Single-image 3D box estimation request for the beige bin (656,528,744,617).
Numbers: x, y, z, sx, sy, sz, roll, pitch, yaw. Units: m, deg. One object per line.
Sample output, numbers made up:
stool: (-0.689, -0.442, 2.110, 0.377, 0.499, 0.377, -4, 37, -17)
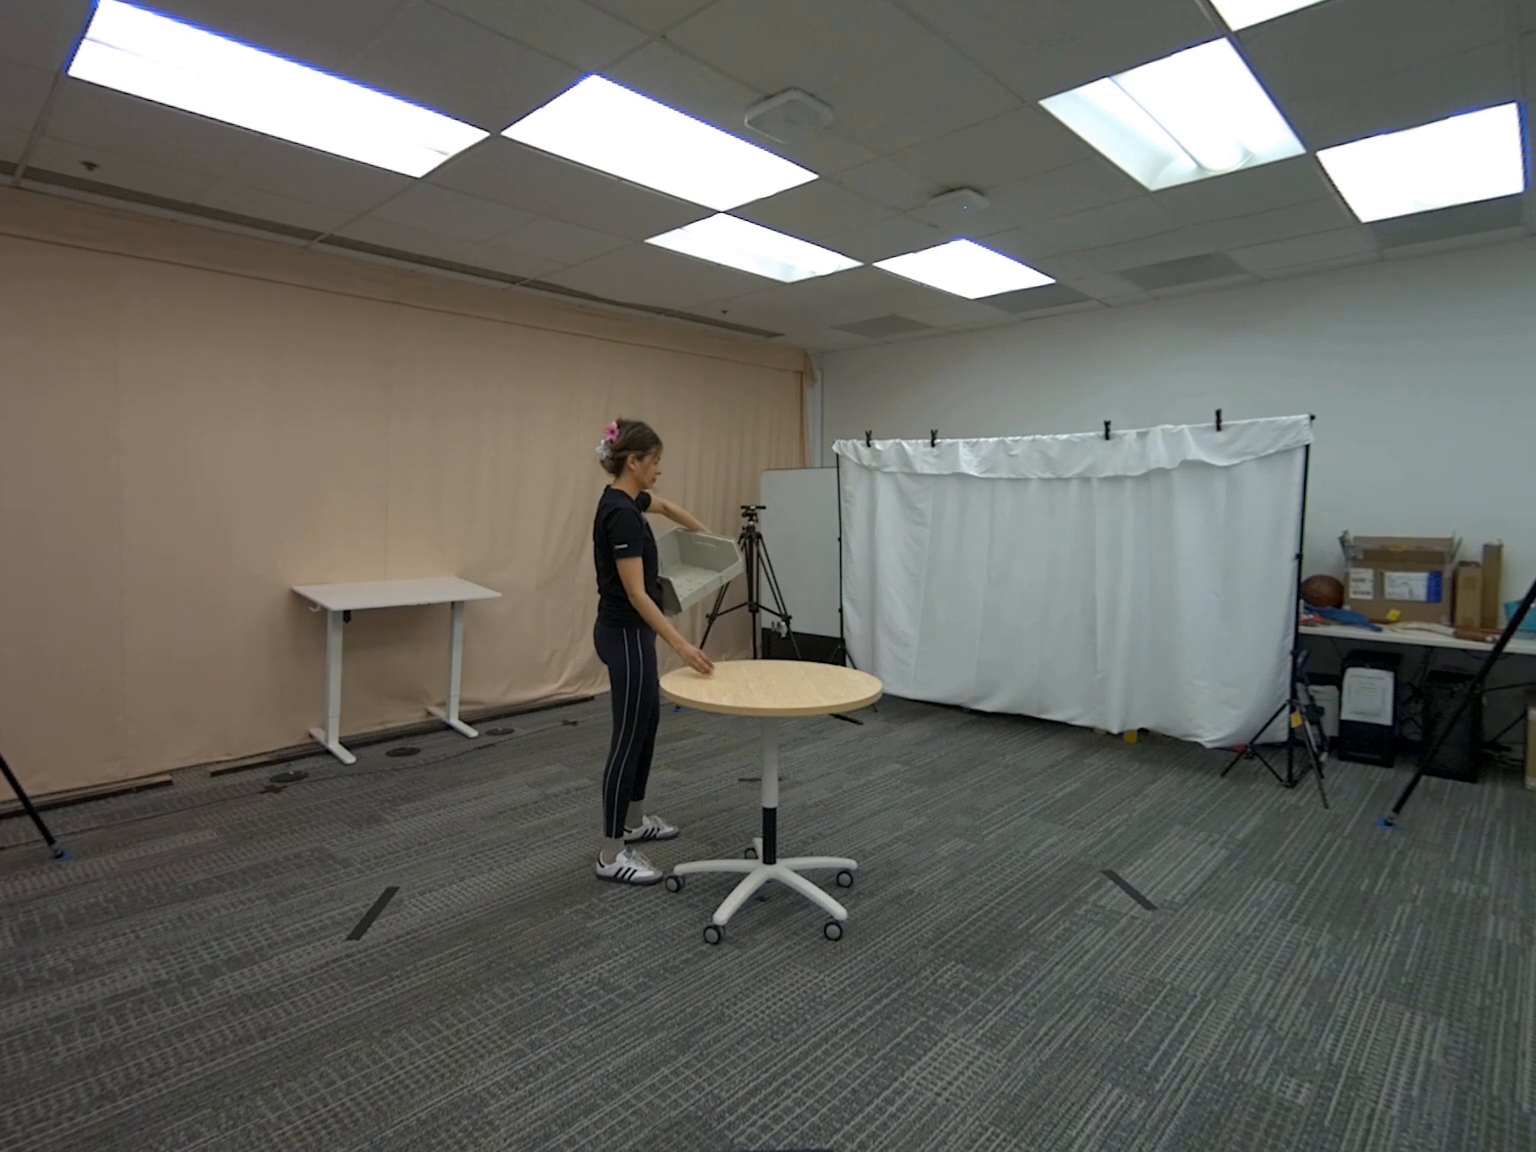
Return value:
beige bin: (-0.375, -0.019, 3.559, 0.390, 0.186, 0.415, 12, 32, 37)
